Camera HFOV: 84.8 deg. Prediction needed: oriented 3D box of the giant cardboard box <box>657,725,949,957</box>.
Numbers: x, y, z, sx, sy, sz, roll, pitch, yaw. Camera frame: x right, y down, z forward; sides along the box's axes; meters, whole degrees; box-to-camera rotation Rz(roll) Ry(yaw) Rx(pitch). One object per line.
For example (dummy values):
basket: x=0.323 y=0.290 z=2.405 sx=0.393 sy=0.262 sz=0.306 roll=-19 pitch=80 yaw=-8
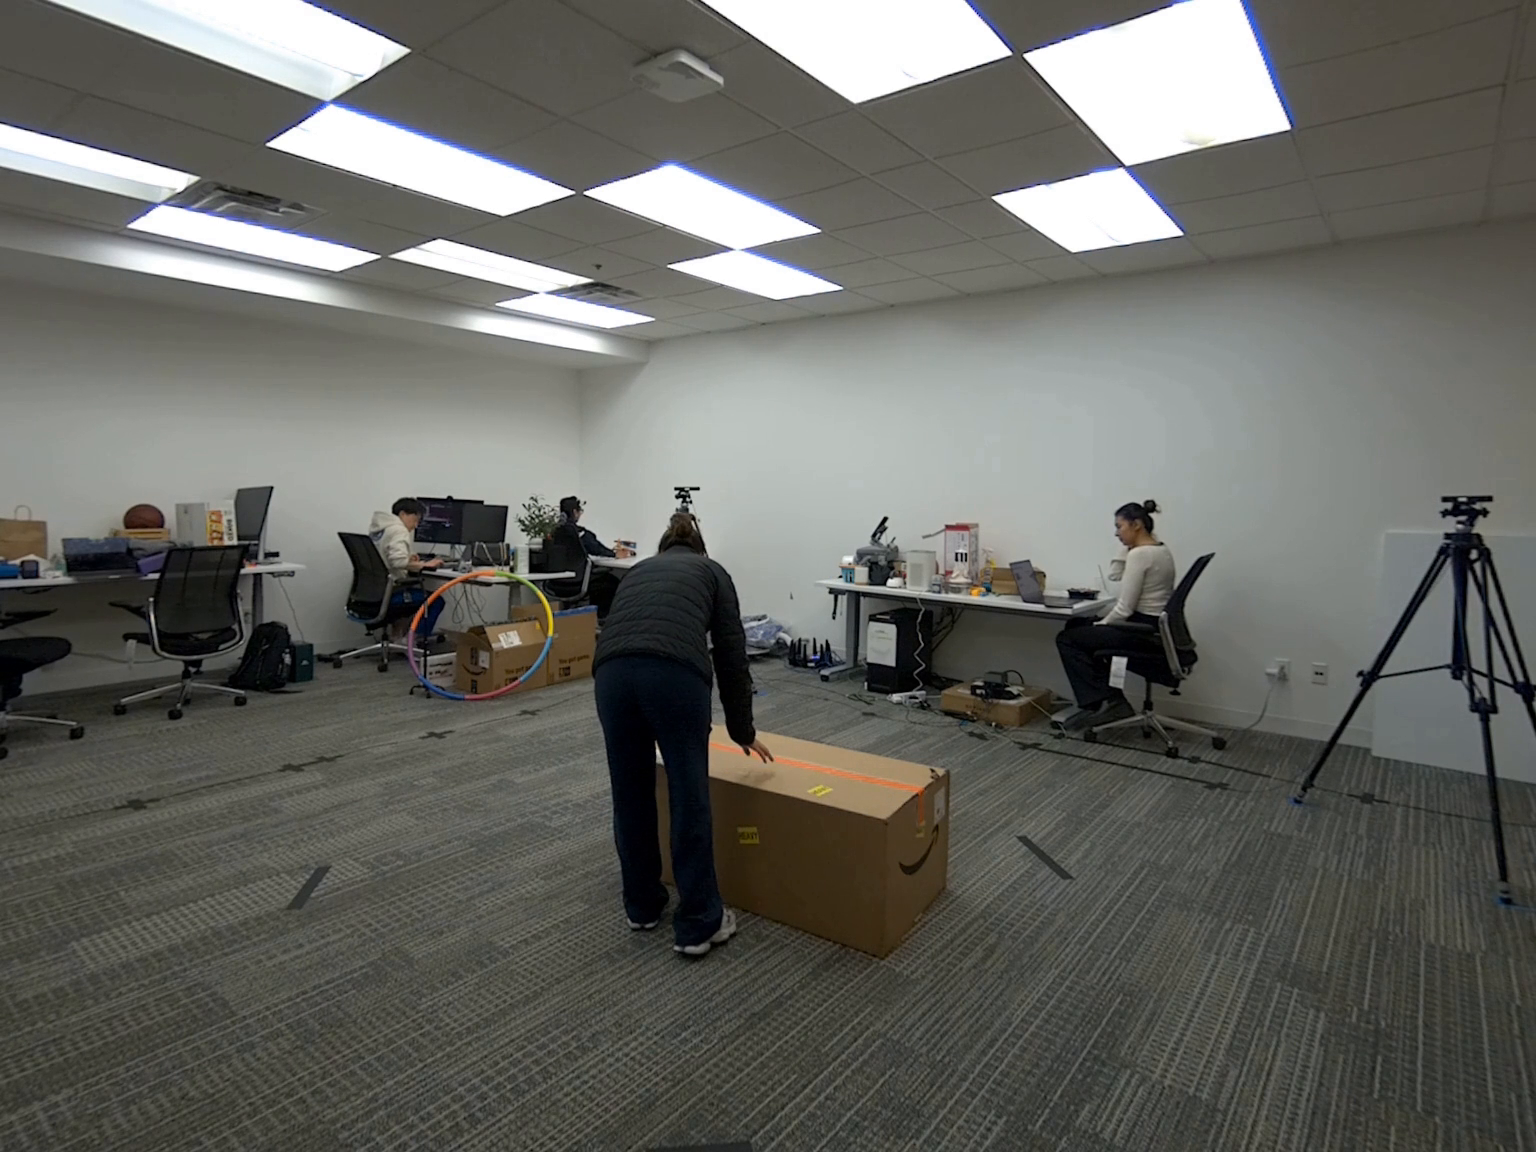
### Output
giant cardboard box: x=0.069 y=0.862 z=3.045 sx=1.058 sy=0.424 sz=0.562 roll=5 pitch=6 yaw=33
